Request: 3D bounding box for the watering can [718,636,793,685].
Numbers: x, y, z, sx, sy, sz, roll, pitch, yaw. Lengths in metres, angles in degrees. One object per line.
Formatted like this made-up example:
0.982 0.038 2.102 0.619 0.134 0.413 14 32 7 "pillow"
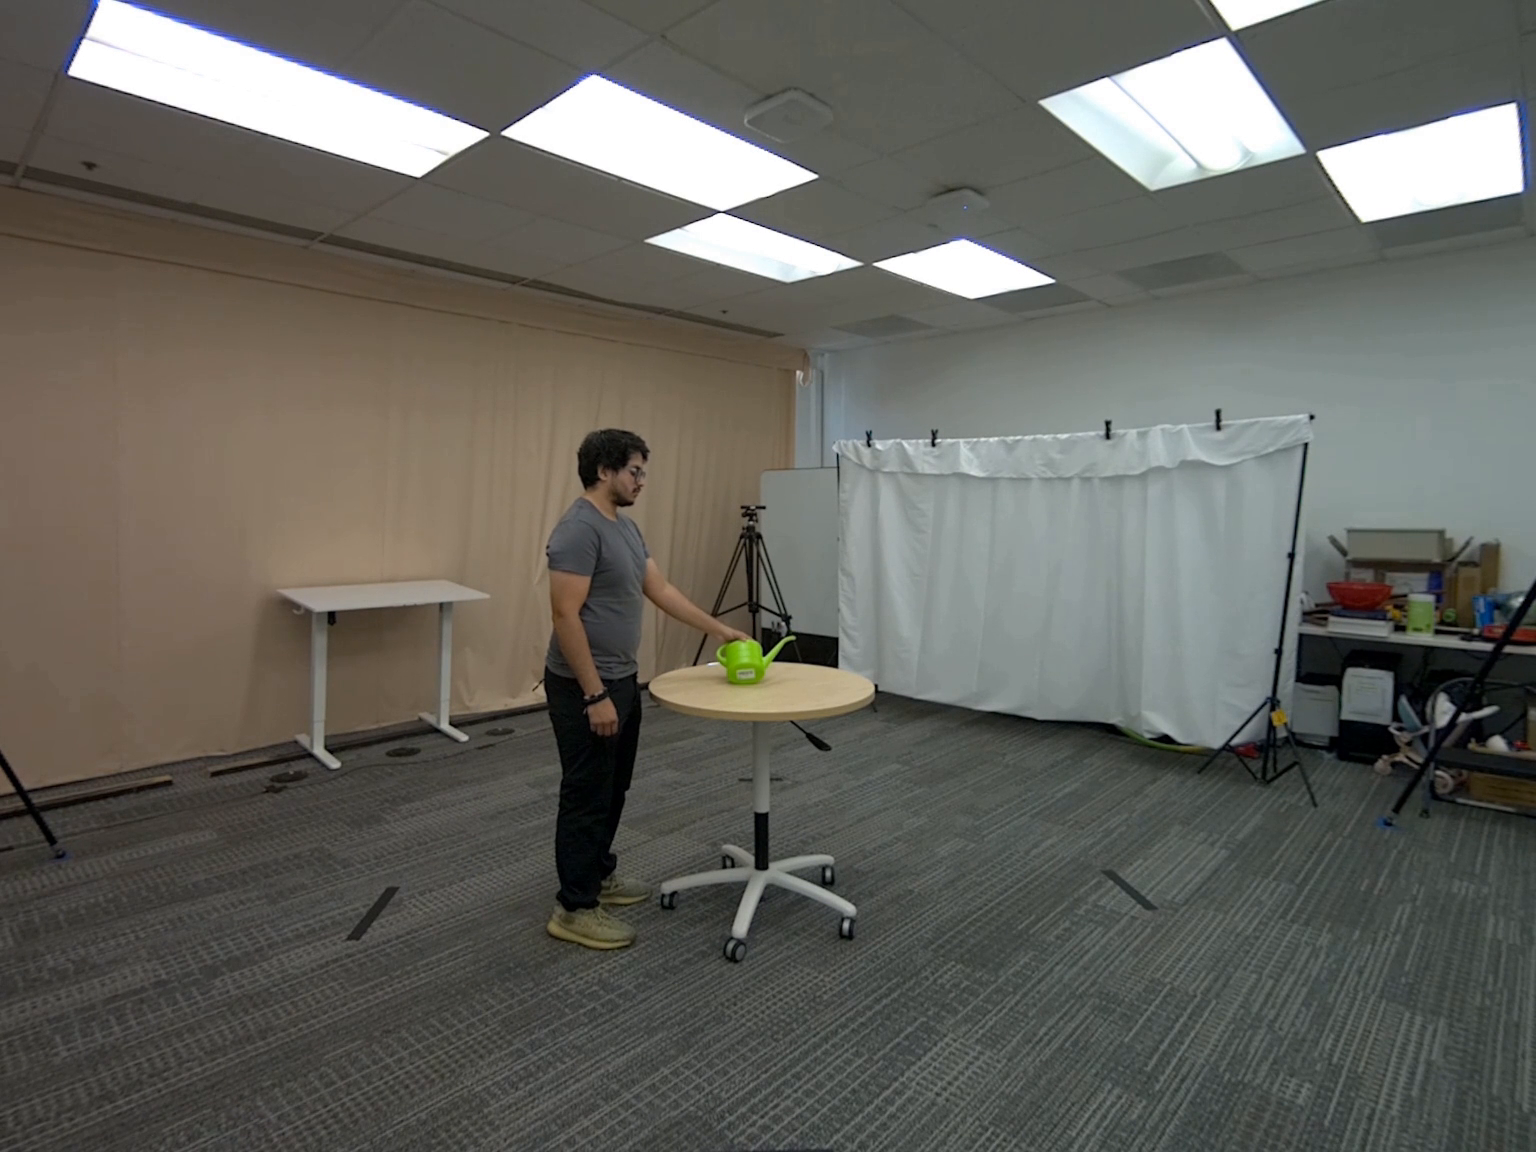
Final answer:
-0.037 0.274 2.900 0.280 0.095 0.180 -19 32 7 "watering can"
